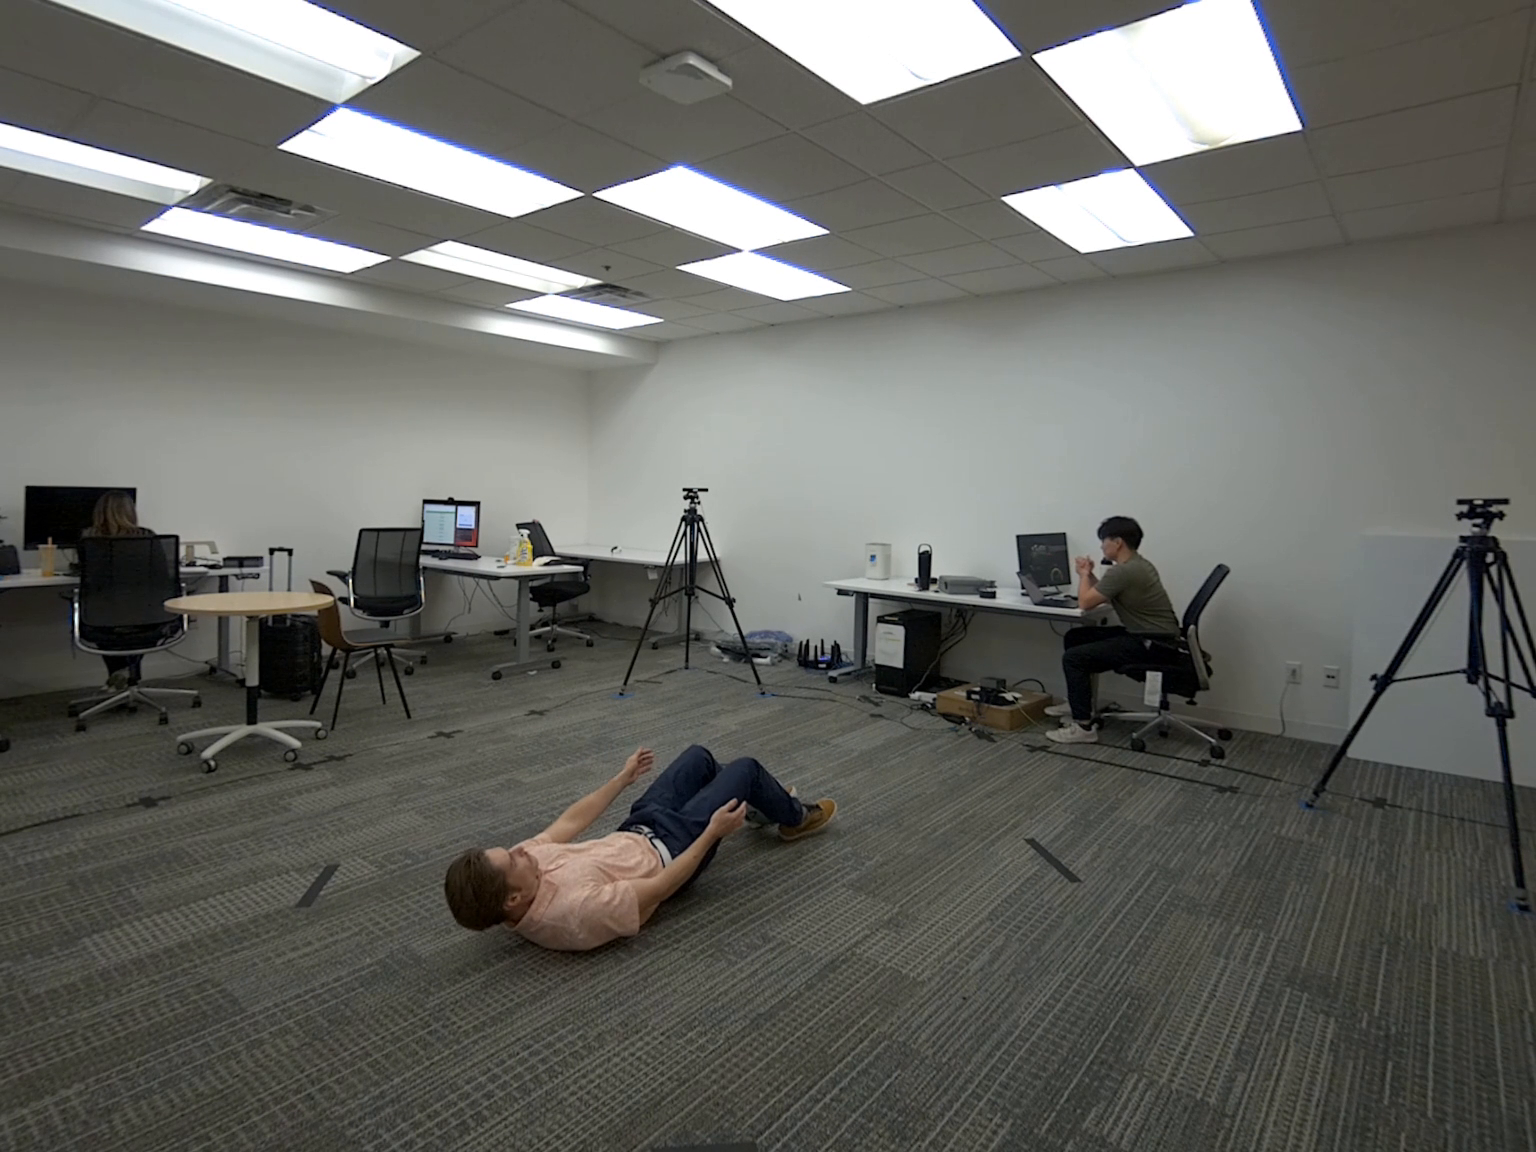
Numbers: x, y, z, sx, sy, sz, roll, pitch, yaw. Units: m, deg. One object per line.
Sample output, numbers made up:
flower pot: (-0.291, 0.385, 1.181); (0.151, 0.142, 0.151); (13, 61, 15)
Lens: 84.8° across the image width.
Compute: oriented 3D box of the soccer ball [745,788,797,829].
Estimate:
soccer ball: (-0.016, 0.899, 3.406); (0.187, 0.187, 0.188); (1, 4, -2)
